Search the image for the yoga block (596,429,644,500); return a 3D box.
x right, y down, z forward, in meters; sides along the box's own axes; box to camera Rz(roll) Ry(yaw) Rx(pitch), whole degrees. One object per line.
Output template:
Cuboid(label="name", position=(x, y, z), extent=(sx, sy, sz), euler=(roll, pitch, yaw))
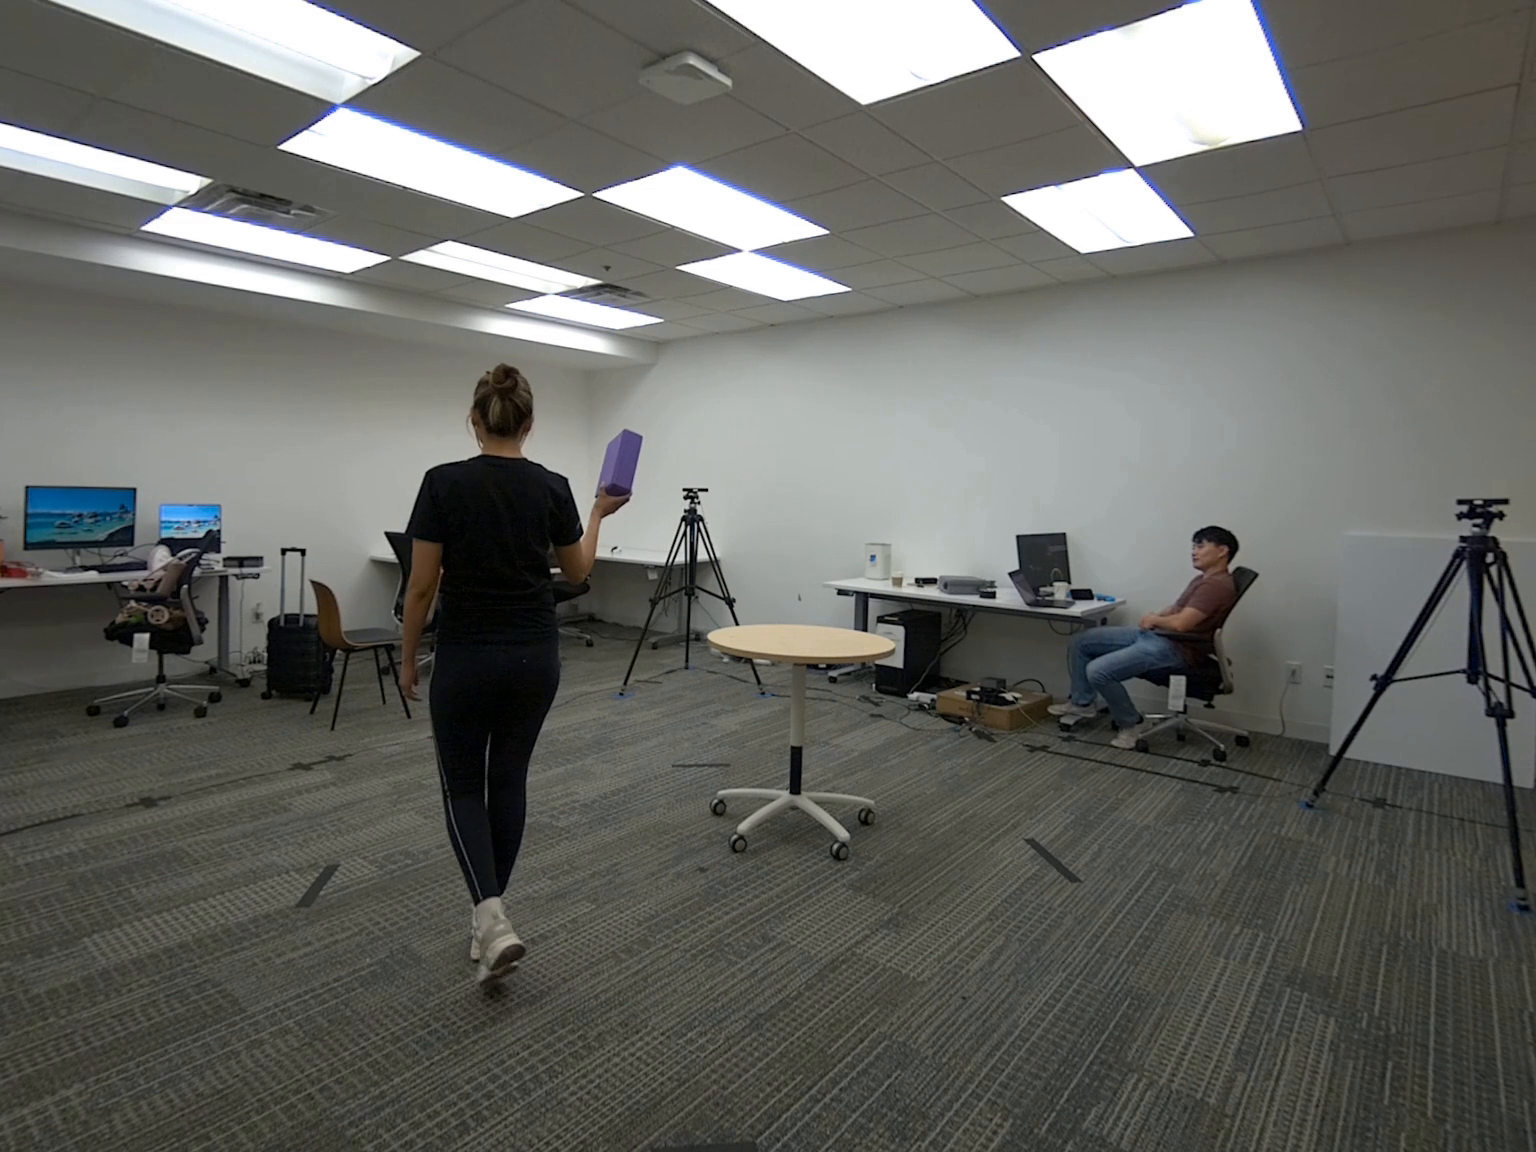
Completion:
Cuboid(label="yoga block", position=(-0.521, -0.378, 2.917), extent=(0.074, 0.233, 0.151), euler=(24, -28, -26))
